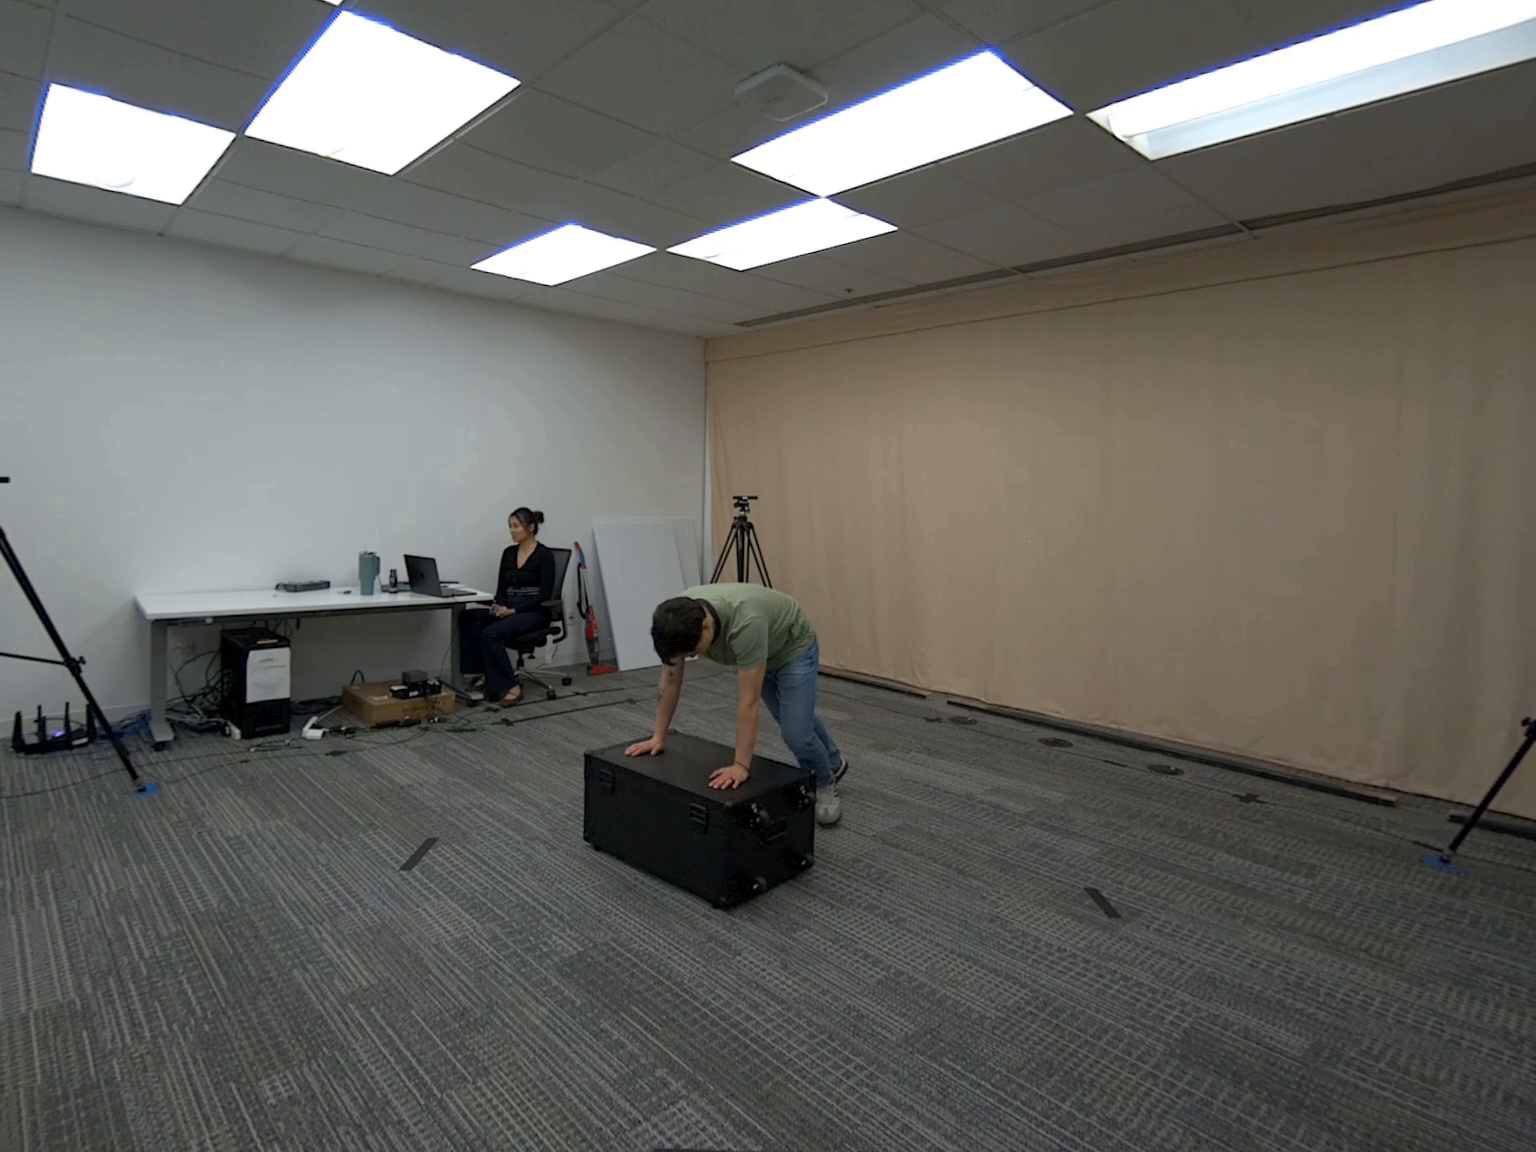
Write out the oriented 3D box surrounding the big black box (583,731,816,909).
[{"bbox_3d":[-0.257,0.905,3.200,0.883,0.395,0.509,4,5,41],"label":"big black box"}]
